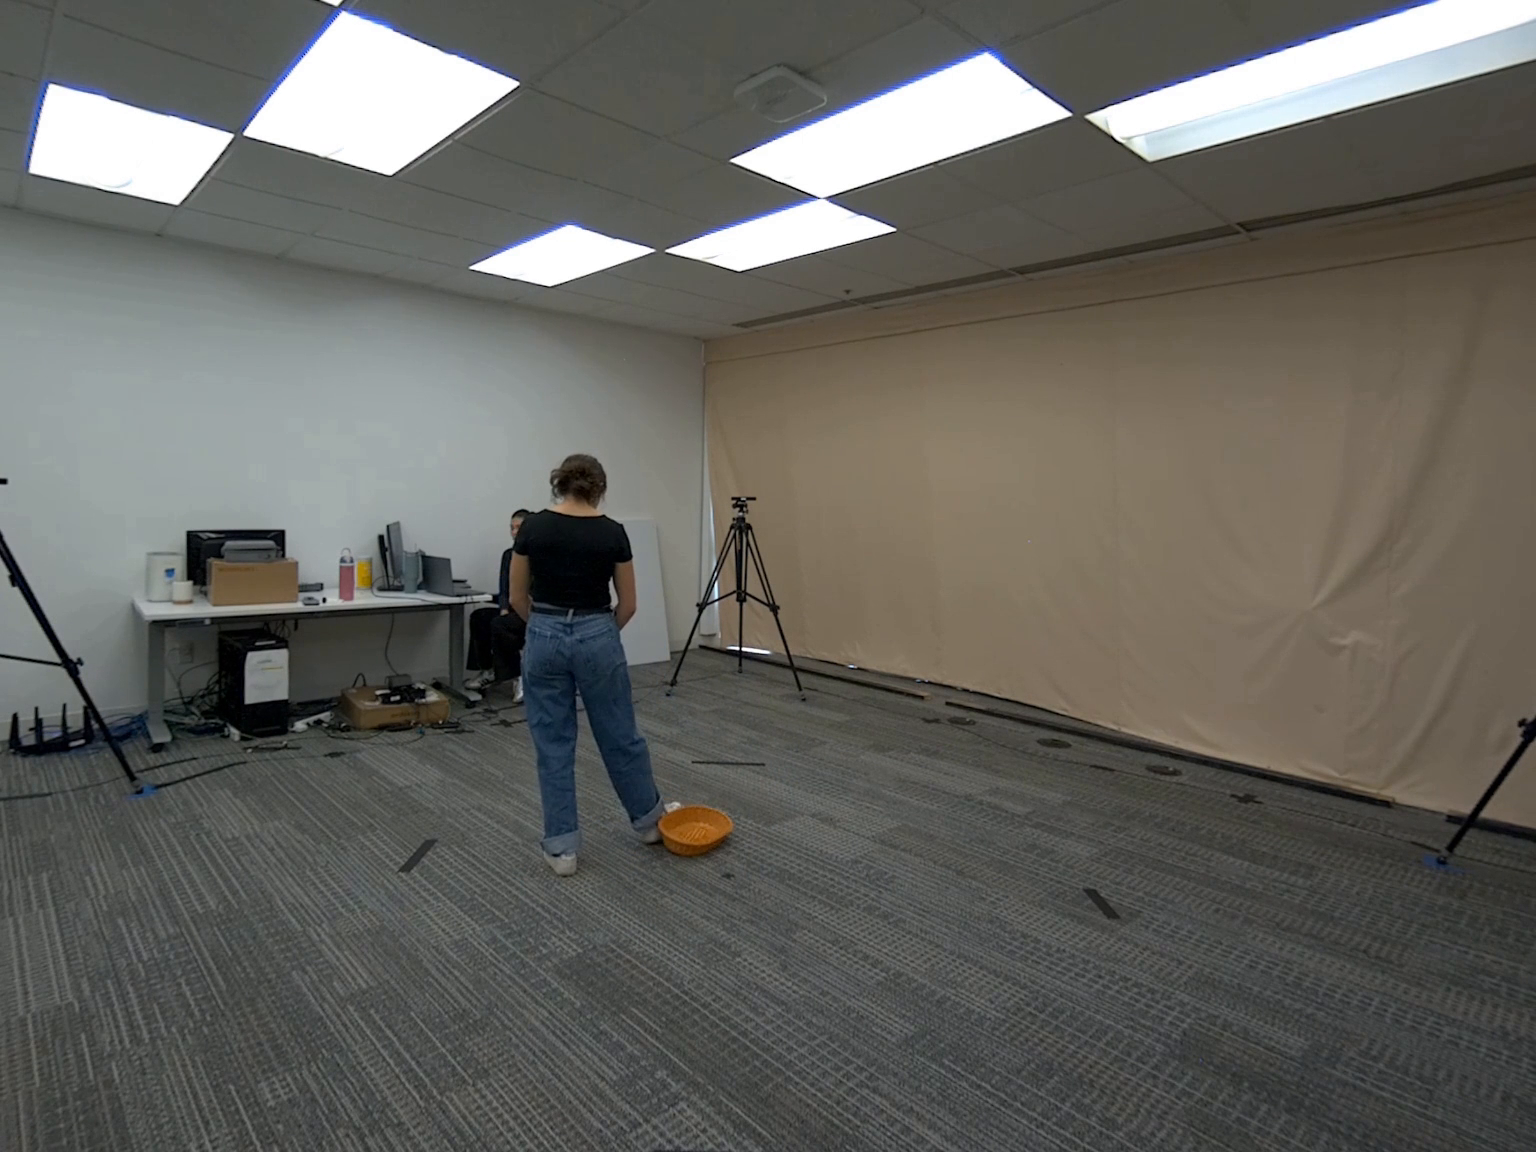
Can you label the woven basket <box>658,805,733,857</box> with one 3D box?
[{"bbox_3d":[-0.309,1.027,3.373,0.259,0.073,0.343,17,12,31],"label":"woven basket"}]
